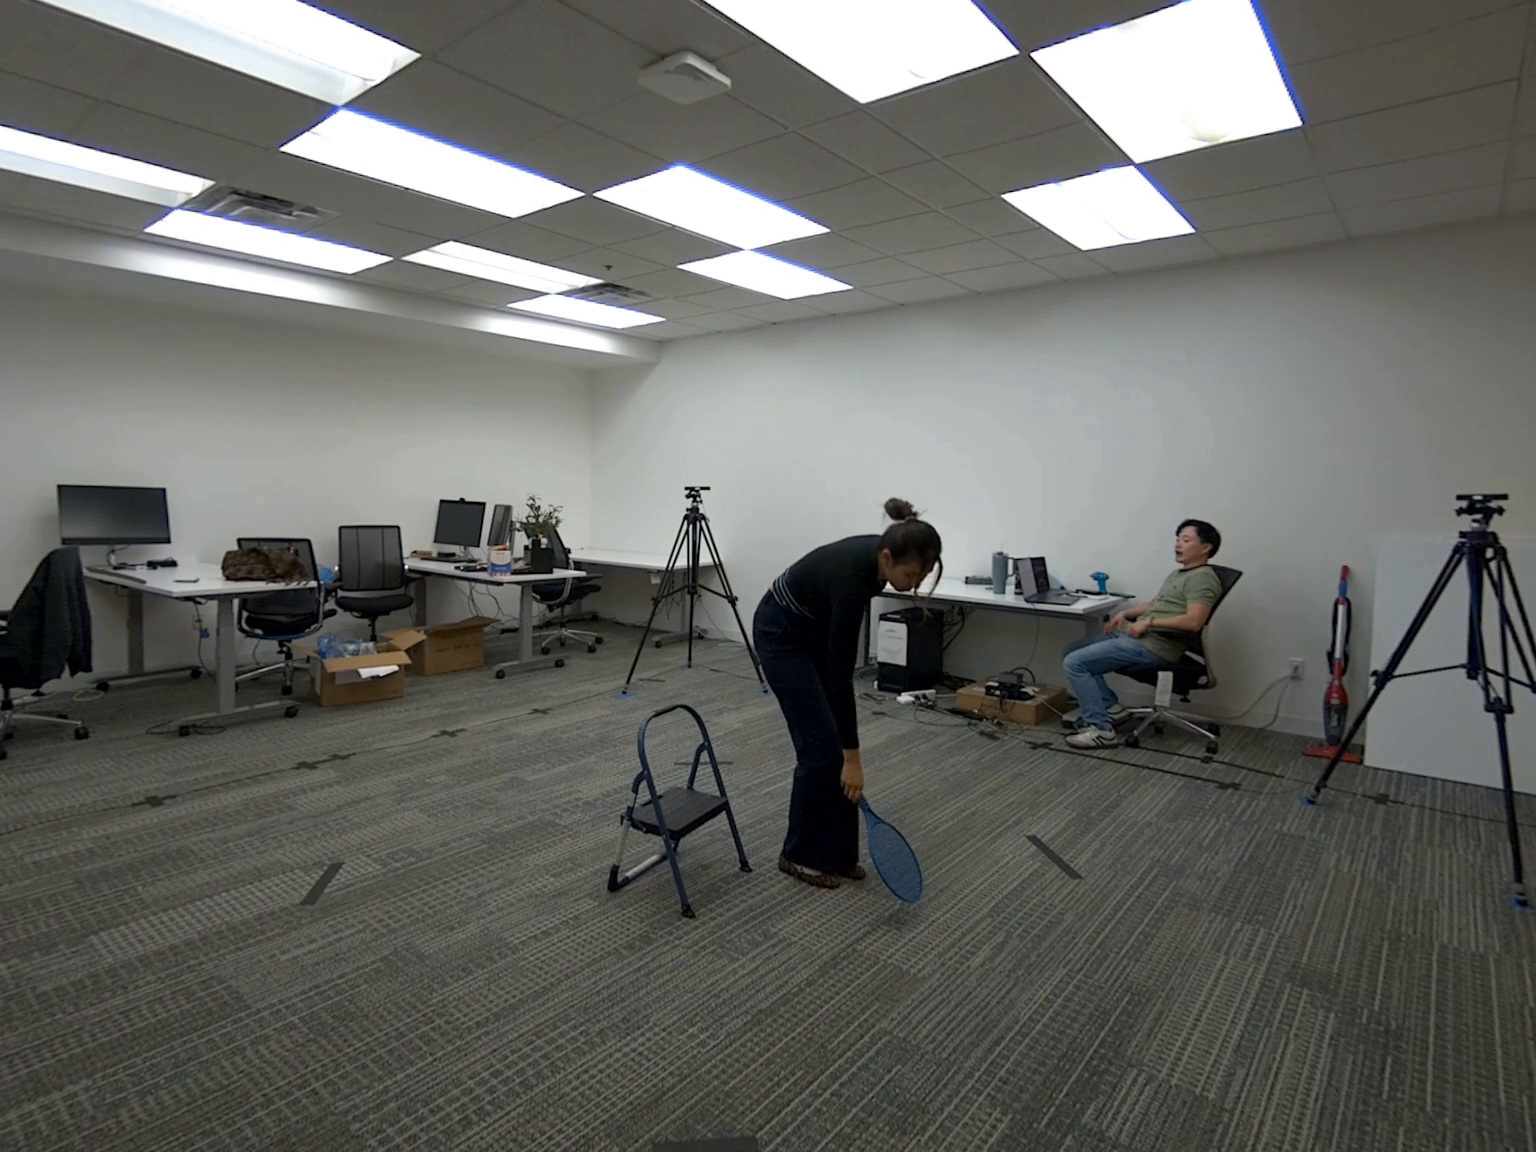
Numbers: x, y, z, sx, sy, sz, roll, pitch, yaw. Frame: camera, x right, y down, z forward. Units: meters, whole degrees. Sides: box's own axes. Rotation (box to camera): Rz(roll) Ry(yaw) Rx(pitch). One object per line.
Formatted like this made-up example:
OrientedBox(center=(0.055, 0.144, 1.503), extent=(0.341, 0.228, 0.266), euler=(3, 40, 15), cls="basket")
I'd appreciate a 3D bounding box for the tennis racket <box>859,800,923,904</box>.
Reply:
OrientedBox(center=(0.366, 0.847, 2.797), extent=(0.208, 0.443, 0.032), euler=(-11, -27, -52), cls="tennis racket")
